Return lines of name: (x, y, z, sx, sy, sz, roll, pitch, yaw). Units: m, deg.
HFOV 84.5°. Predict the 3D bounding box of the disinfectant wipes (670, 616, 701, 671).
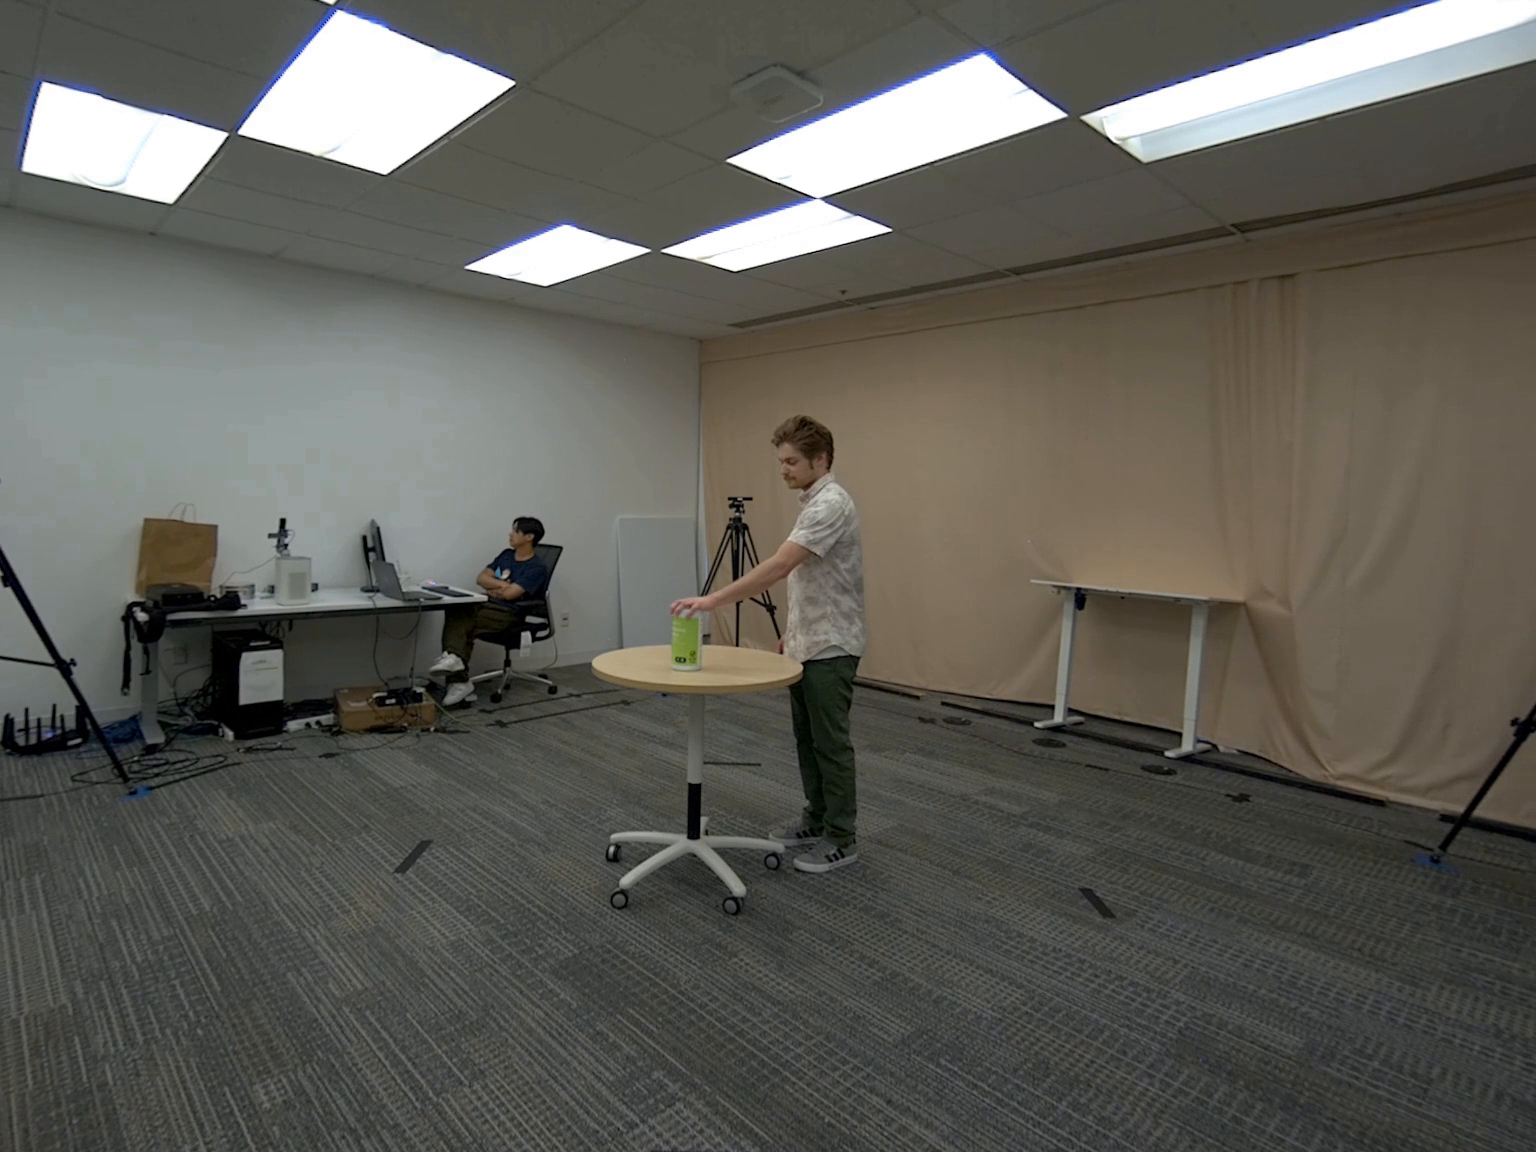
disinfectant wipes: (-0.290, 0.222, 2.951, 0.118, 0.216, 0.118, 1, 5, -1)
